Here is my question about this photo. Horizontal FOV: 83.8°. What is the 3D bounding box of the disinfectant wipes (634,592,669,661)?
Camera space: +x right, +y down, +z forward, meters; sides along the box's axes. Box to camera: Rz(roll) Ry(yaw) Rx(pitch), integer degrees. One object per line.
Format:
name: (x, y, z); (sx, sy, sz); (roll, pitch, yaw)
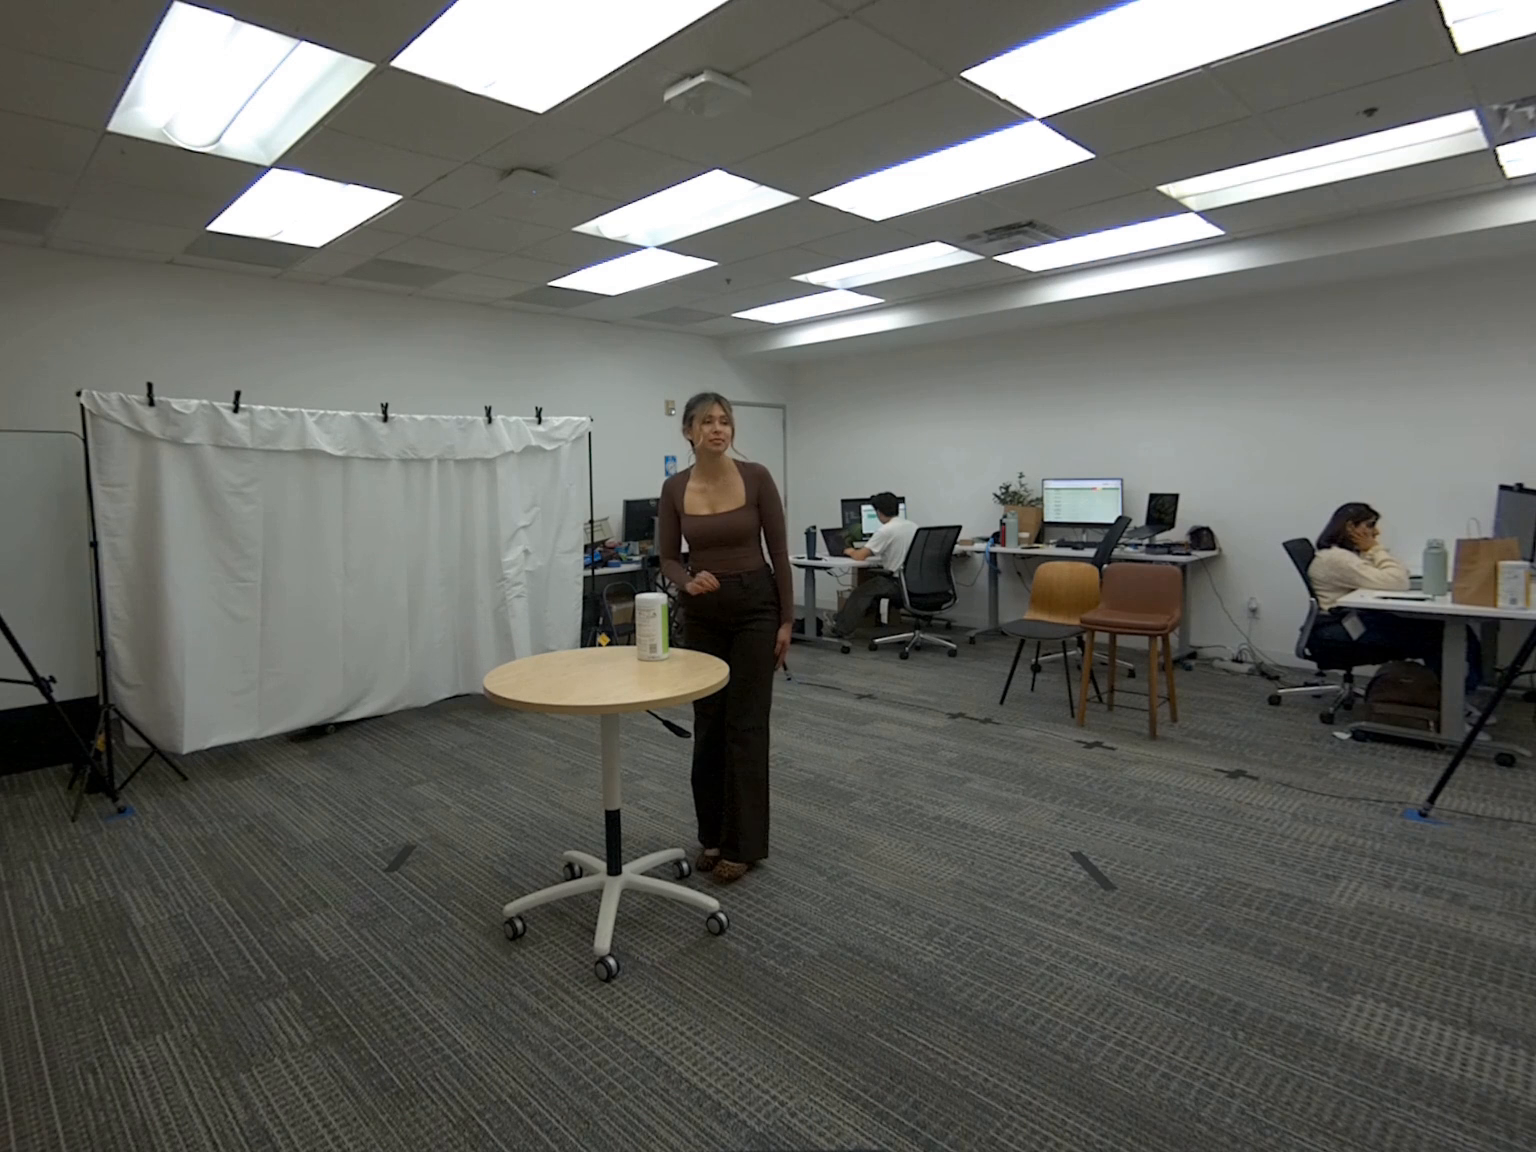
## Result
disinfectant wipes: (-0.384, 0.171, 2.868); (0.118, 0.216, 0.118); (1, 5, -2)
